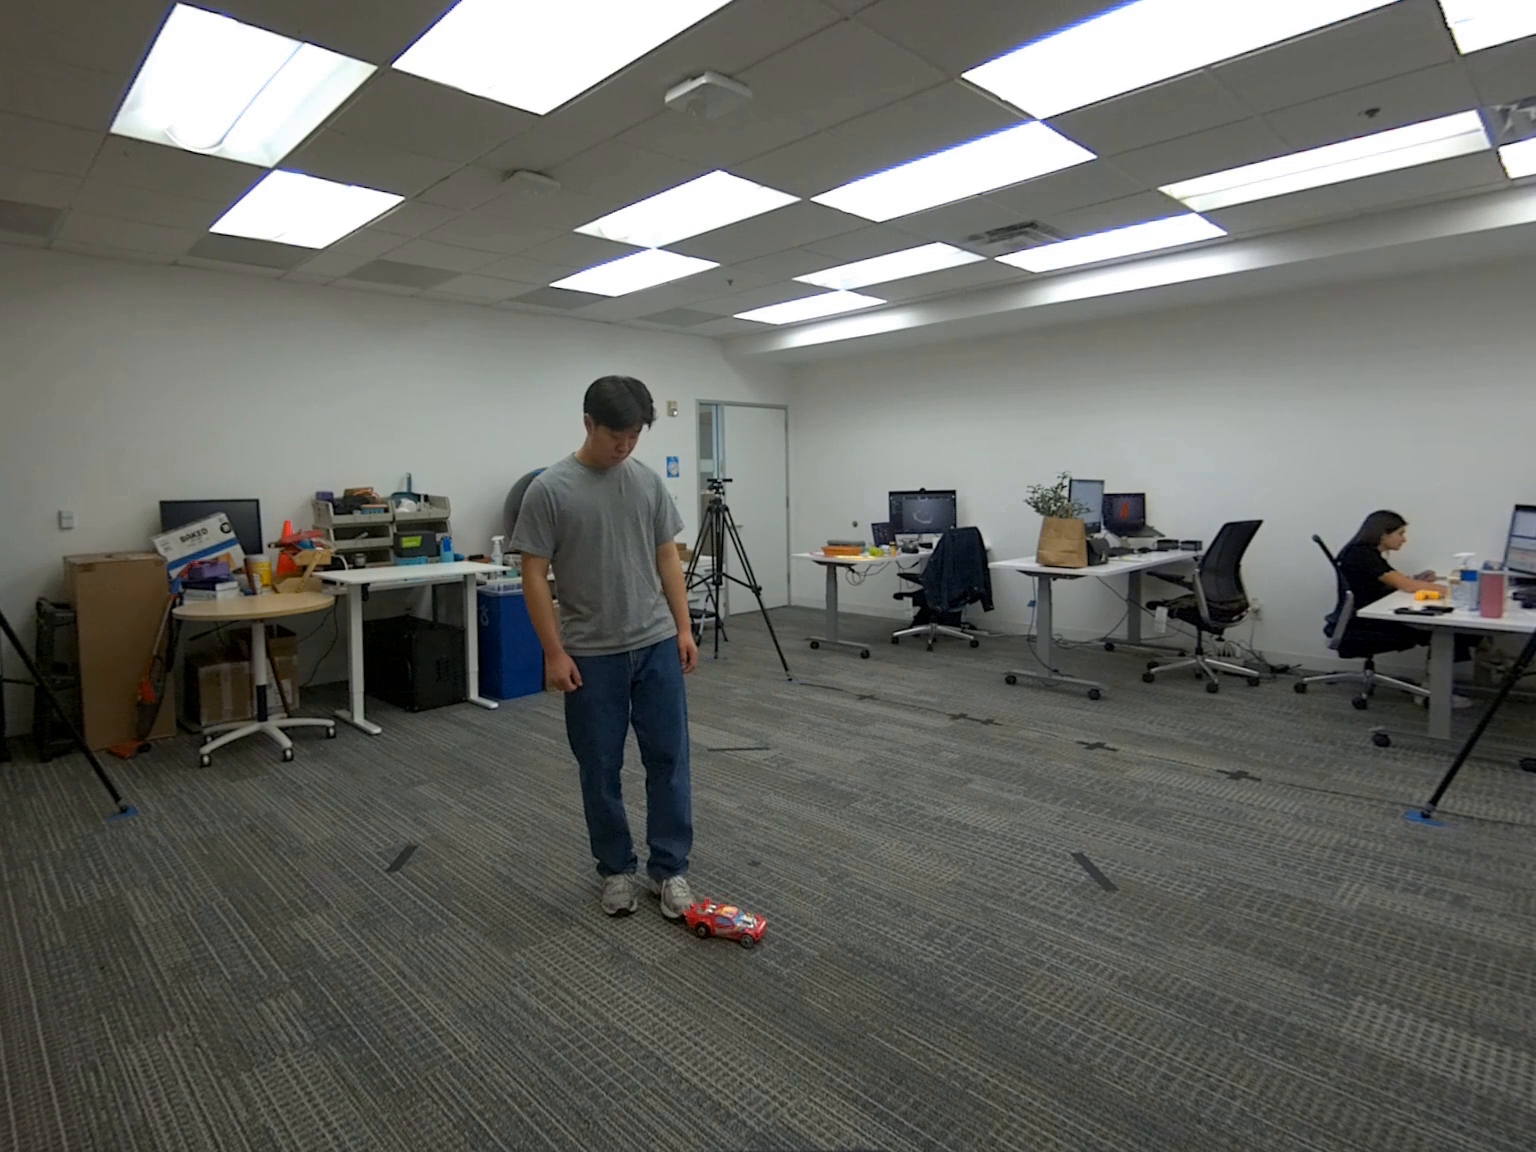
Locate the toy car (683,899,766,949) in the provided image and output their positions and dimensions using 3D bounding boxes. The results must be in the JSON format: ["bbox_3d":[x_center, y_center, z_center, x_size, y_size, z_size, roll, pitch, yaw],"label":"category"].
[{"bbox_3d":[-0.130,1.067,2.631,0.260,0.082,0.128,14,10,20],"label":"toy car"}]
